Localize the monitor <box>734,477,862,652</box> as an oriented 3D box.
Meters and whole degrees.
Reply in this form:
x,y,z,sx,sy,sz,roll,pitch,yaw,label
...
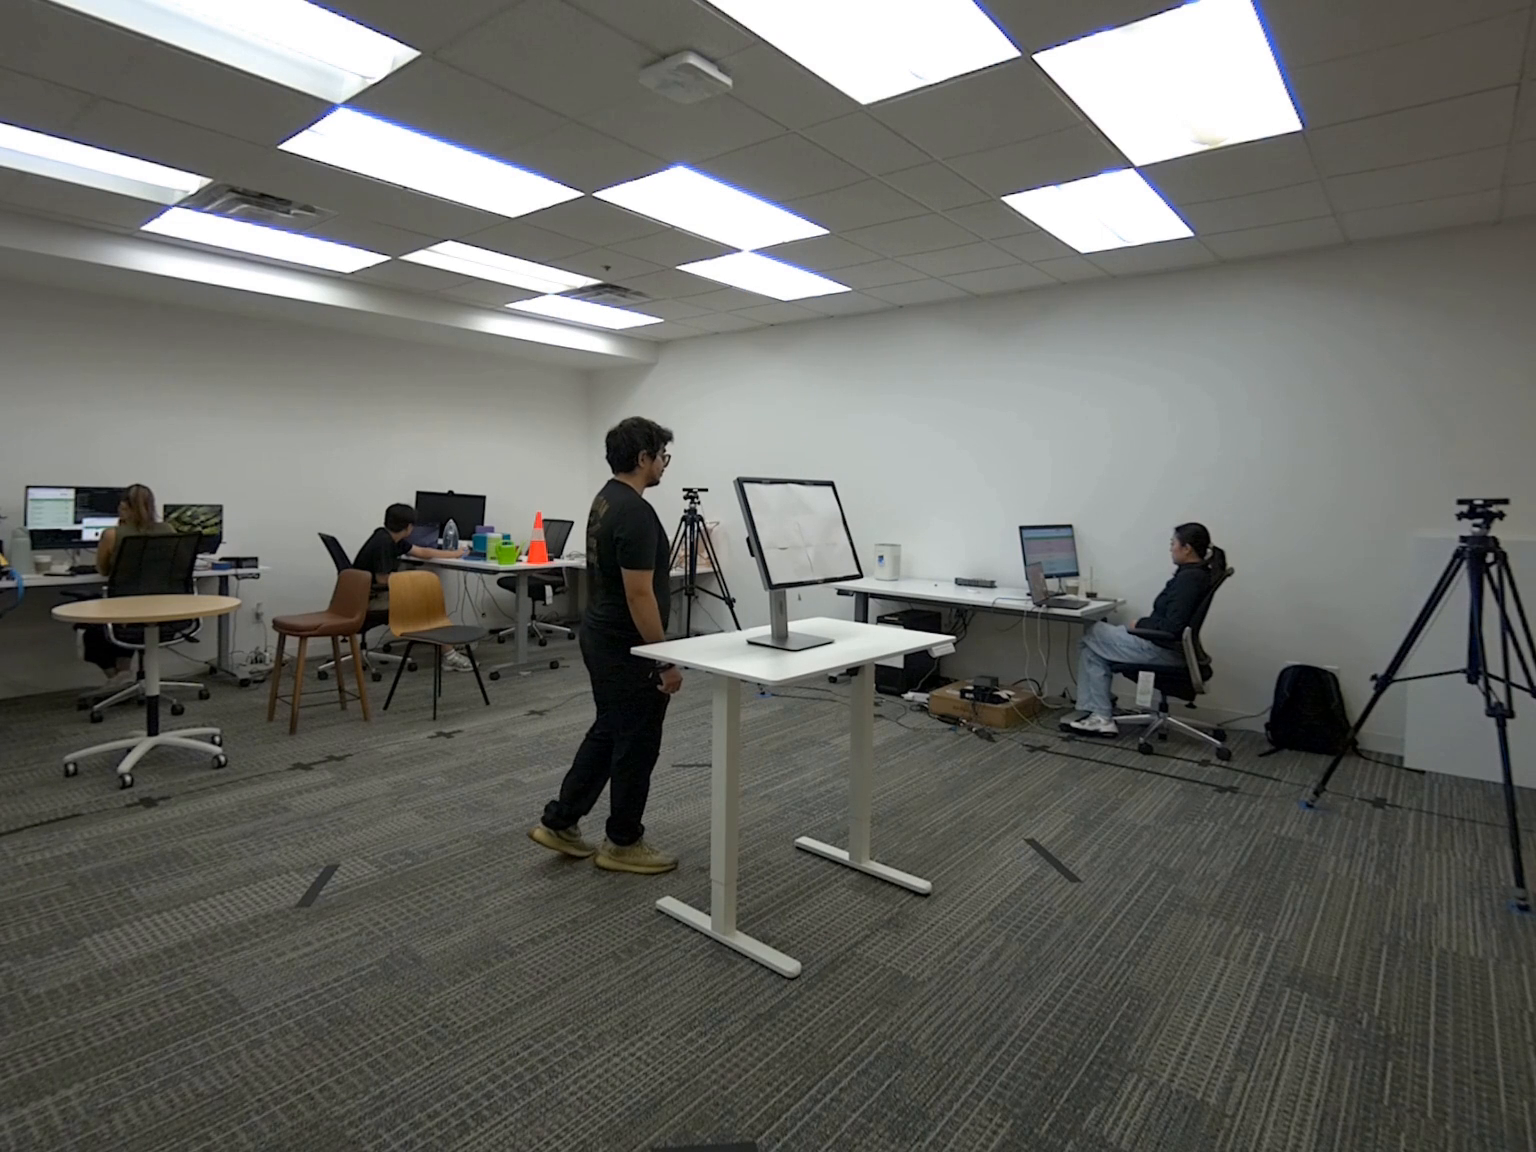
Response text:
x,y,z,sx,sy,sz,roll,pitch,yaw,label
0.053,-0.048,2.831,0.215,0.556,0.549,-10,-3,36,monitor
